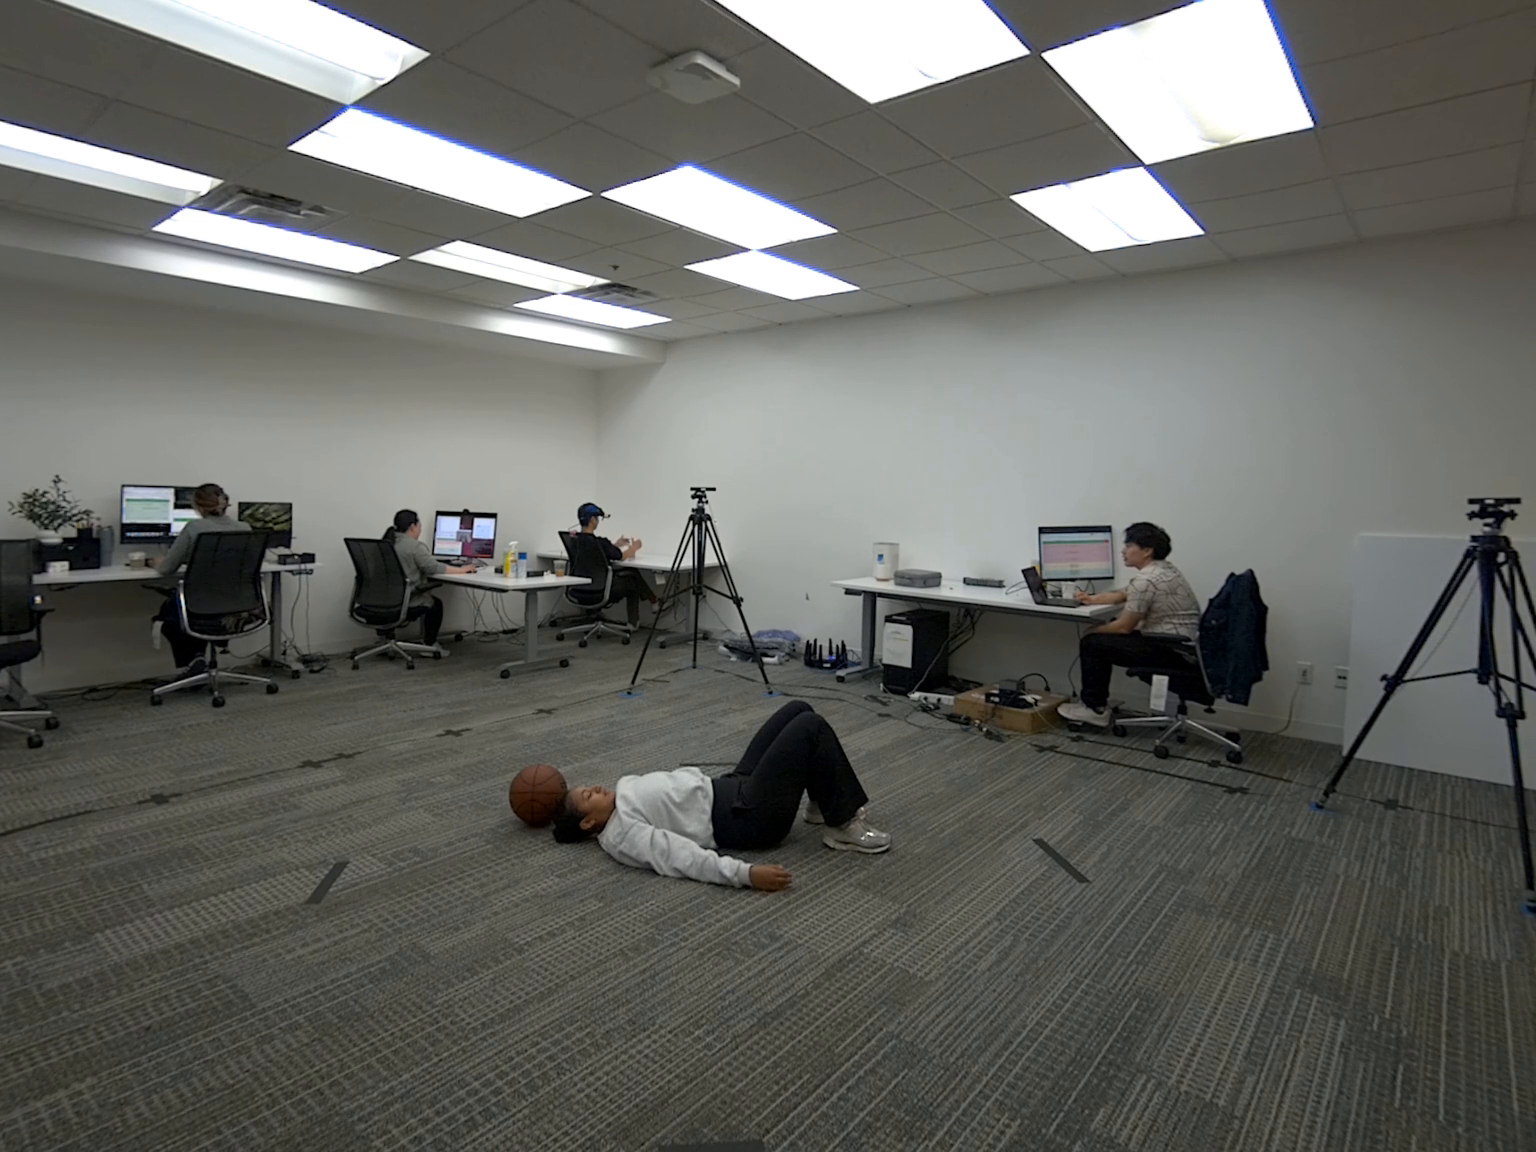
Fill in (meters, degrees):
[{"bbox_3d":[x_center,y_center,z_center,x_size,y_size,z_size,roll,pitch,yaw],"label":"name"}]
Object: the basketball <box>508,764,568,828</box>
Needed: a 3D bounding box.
[{"bbox_3d":[-0.961,0.892,3.507,0.235,0.235,0.237,1,4,-2],"label":"basketball"}]
